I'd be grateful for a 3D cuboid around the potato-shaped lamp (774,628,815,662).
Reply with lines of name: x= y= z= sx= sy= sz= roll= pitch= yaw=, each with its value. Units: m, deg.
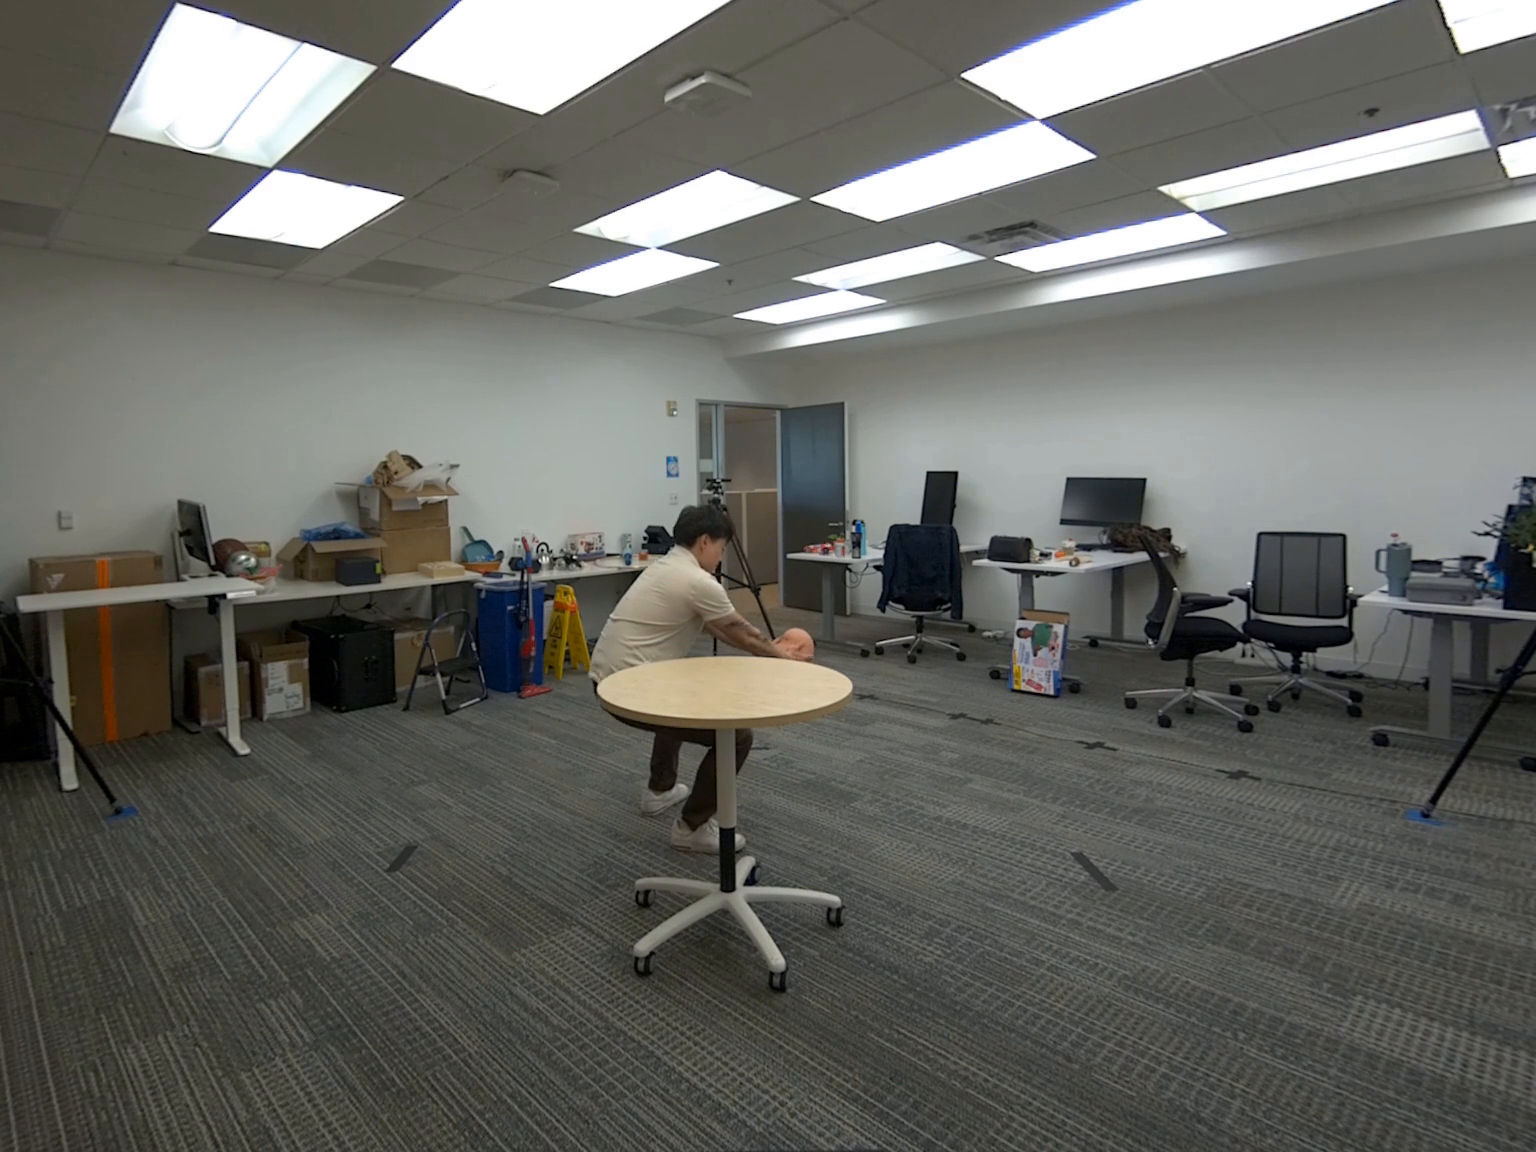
potato-shaped lamp: x=0.102 y=0.319 z=3.605 sx=0.168 sy=0.198 sz=0.168 roll=23 pitch=1 yaw=-19
